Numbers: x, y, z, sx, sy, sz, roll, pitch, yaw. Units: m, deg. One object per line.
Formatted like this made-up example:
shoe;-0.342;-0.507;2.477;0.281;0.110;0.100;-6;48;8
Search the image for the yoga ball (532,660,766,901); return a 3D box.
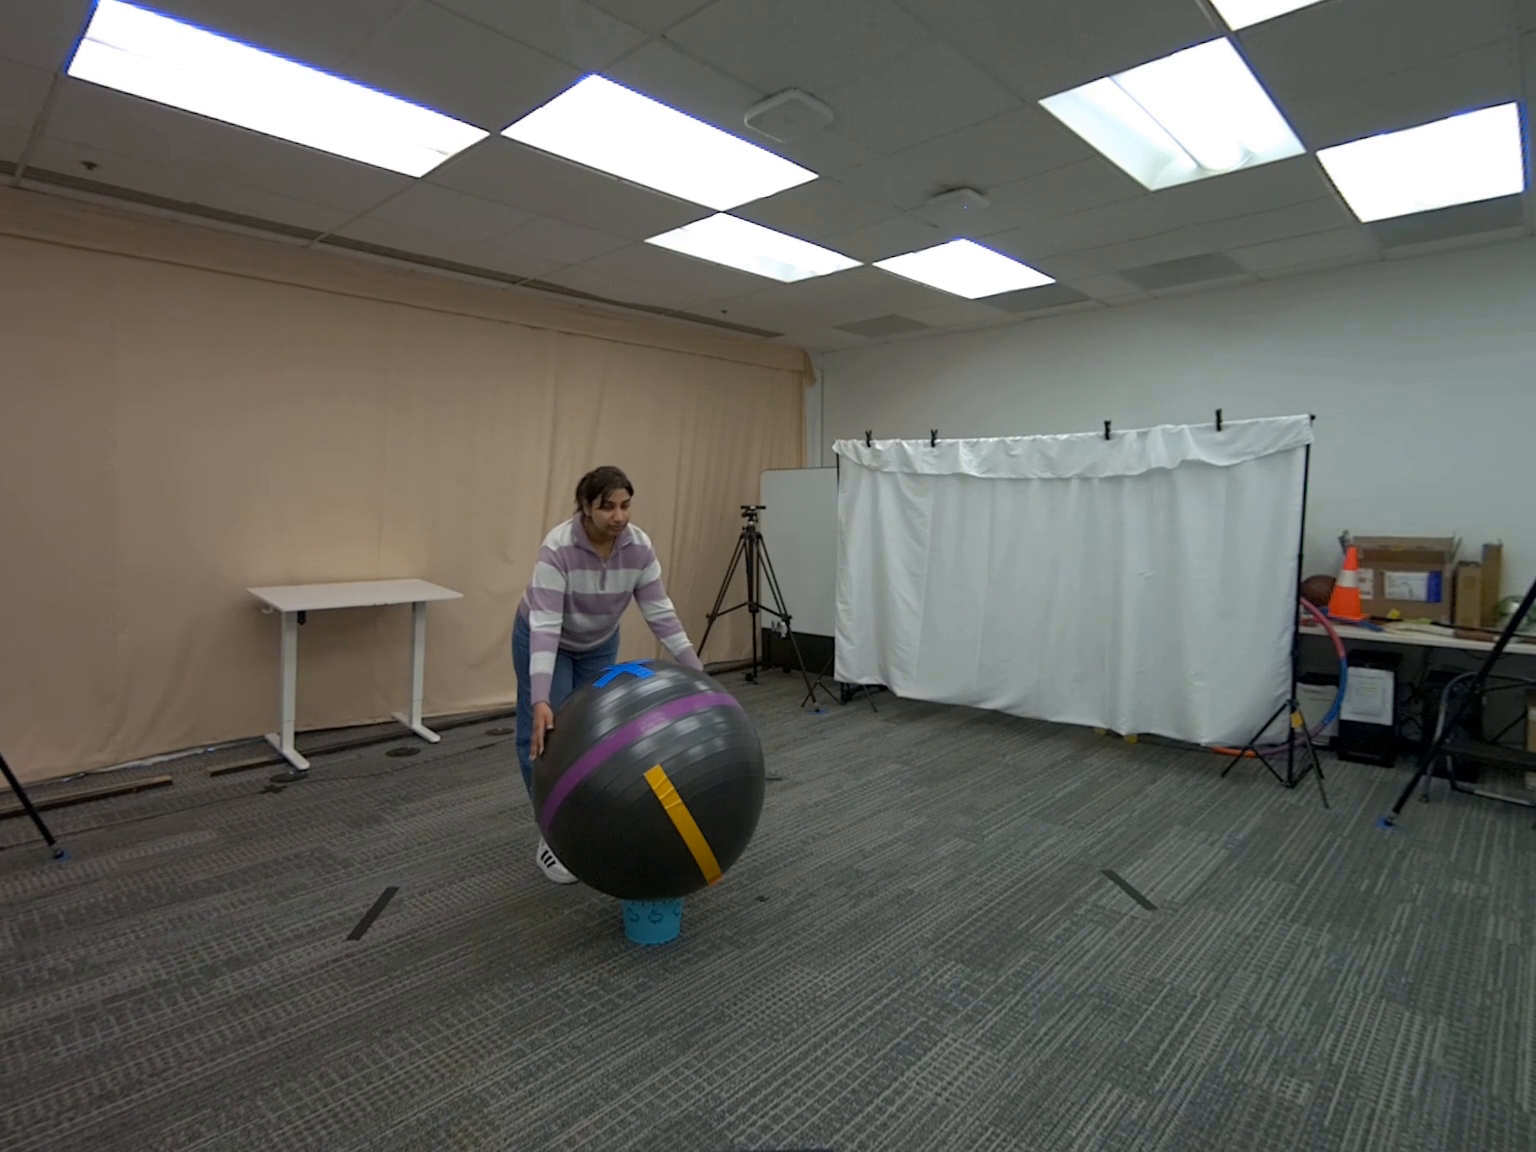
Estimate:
yoga ball;-0.392;0.661;2.744;0.757;0.756;0.760;0;4;-2
